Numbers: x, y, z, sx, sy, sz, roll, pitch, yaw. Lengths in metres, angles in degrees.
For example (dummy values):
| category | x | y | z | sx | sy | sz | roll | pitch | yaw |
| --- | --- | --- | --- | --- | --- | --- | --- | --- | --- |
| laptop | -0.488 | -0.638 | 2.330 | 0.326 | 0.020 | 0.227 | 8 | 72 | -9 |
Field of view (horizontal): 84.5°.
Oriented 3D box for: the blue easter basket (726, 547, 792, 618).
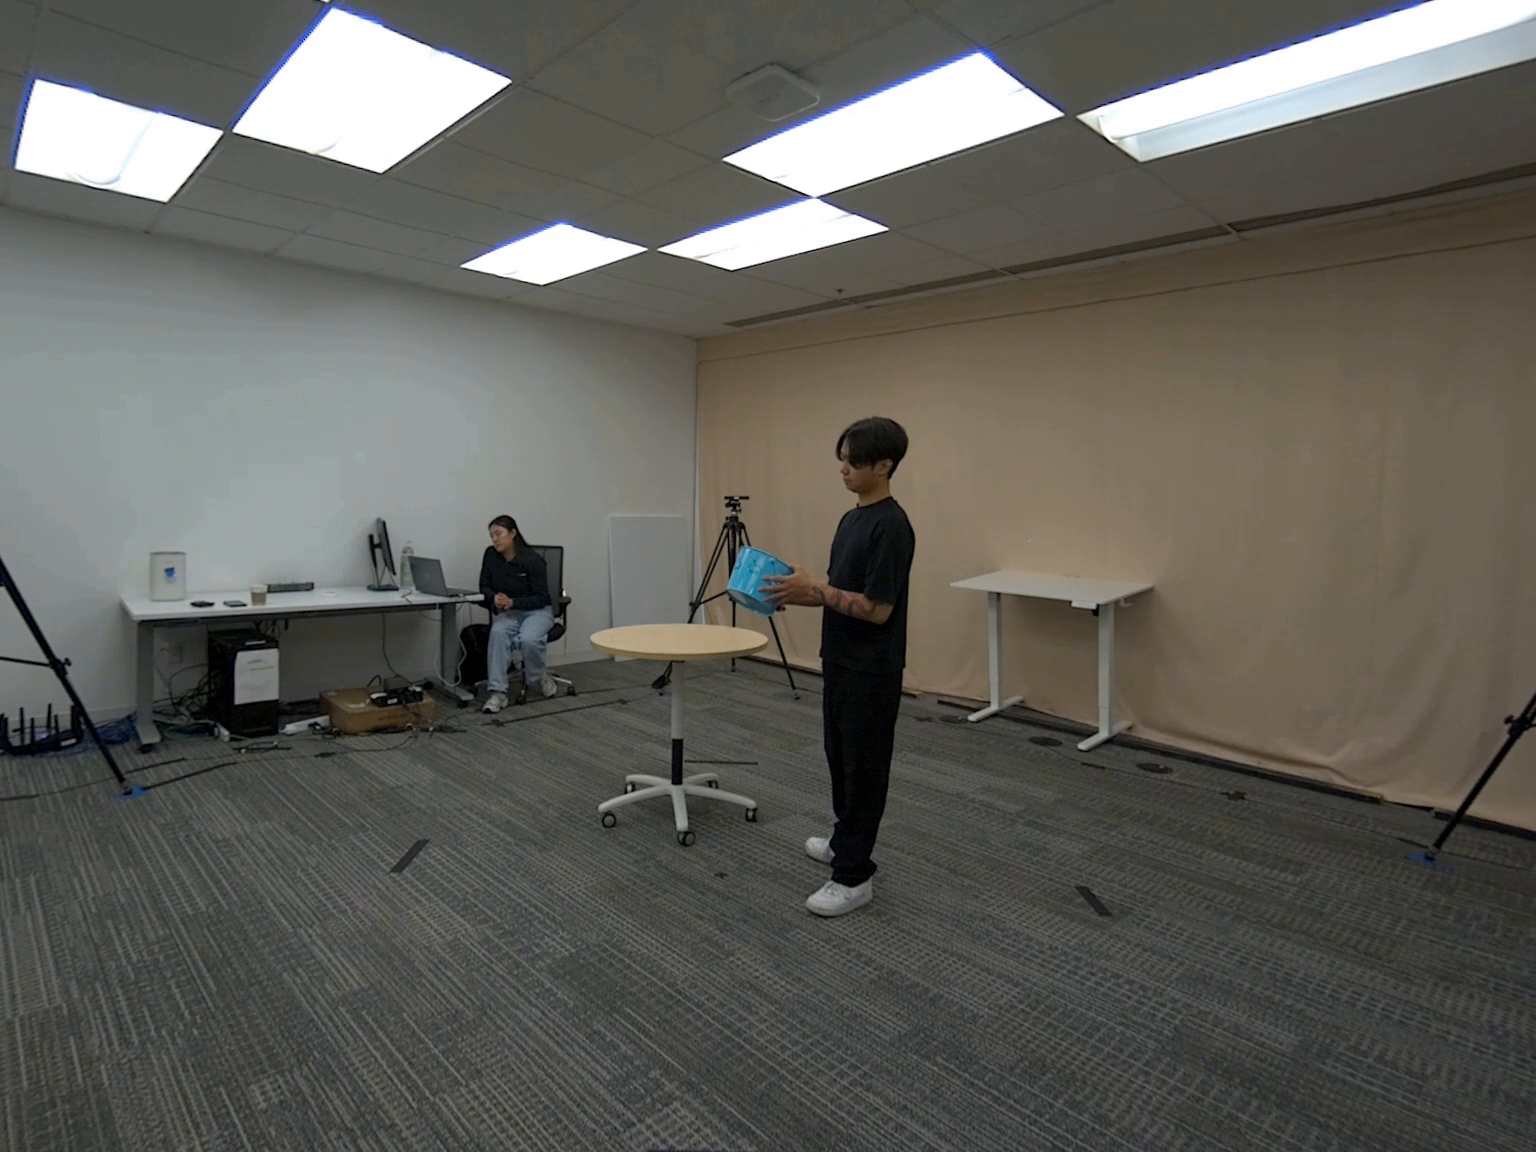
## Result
| category | x | y | z | sx | sy | sz | roll | pitch | yaw |
| --- | --- | --- | --- | --- | --- | --- | --- | --- | --- |
| blue easter basket | -0.030 | 0.024 | 2.890 | 0.245 | 0.156 | 0.240 | 27 | -16 | 7 |
